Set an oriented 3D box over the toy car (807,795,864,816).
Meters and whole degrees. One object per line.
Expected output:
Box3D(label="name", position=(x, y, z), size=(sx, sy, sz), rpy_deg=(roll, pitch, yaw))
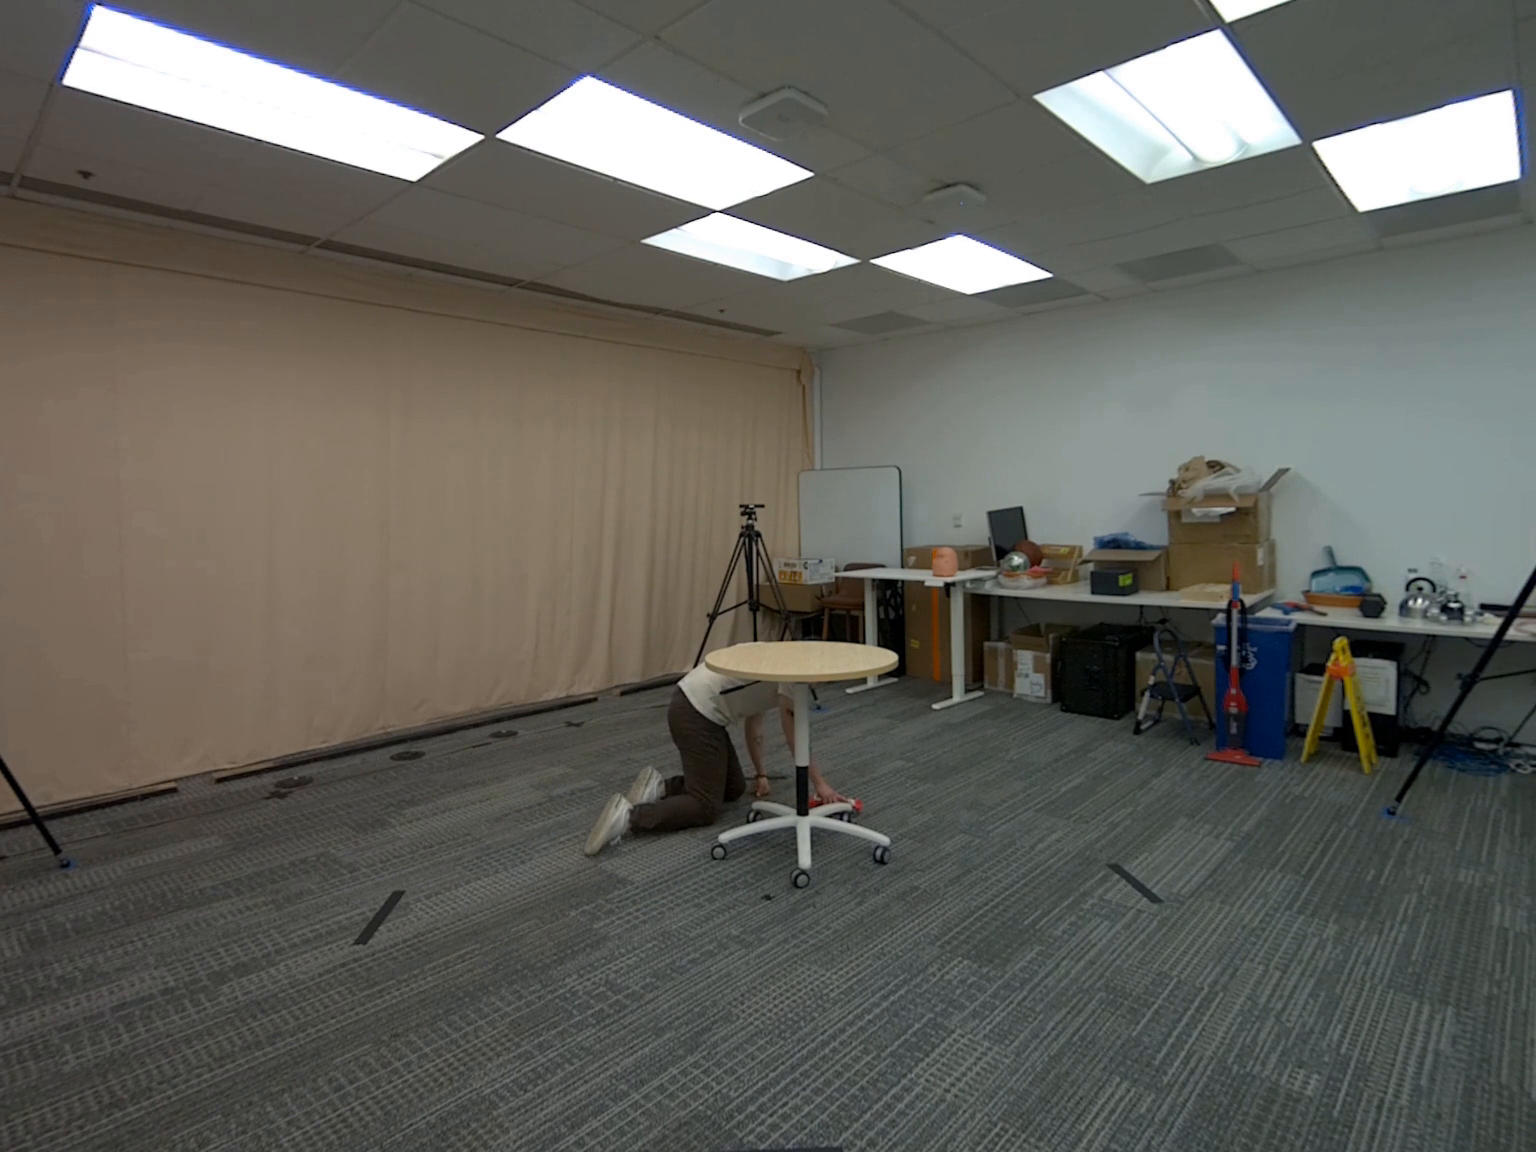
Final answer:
Box3D(label="toy car", position=(0.295, 1.036, 3.814), size=(0.258, 0.083, 0.129), rpy_deg=(11, 7, 11))
